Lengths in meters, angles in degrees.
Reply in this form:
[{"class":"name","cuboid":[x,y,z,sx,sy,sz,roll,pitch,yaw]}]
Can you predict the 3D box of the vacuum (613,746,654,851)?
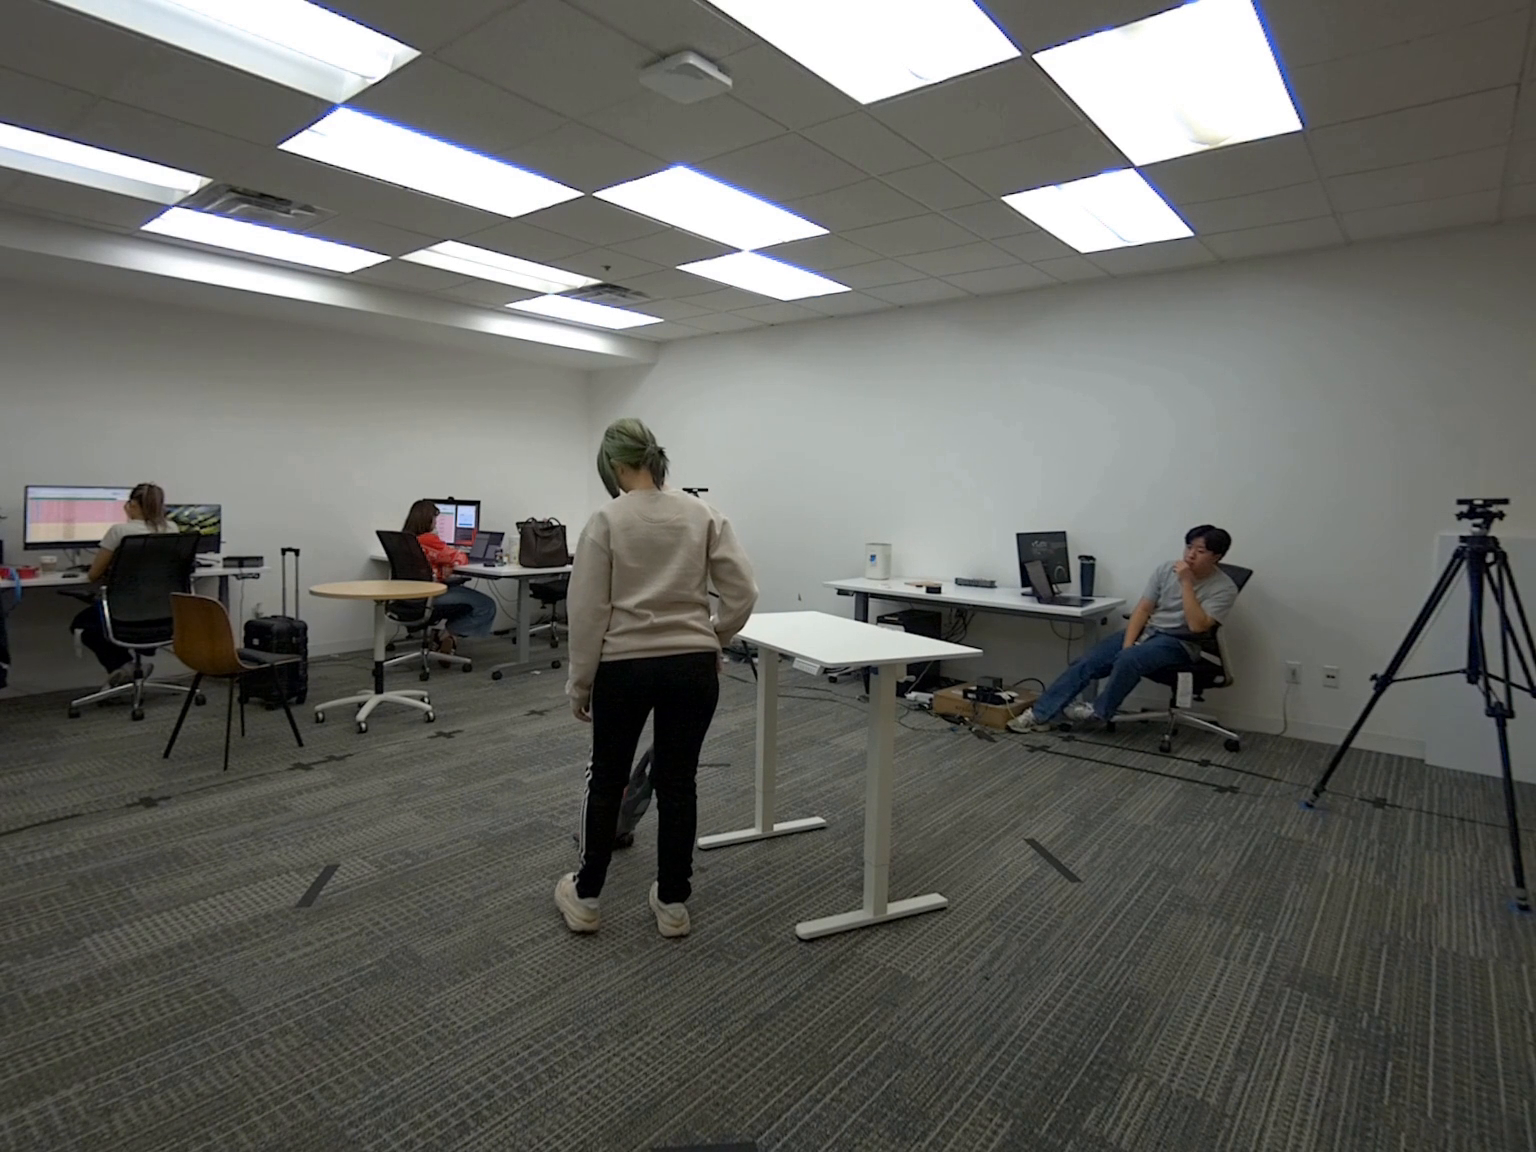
[{"class":"vacuum","cuboid":[-0.433,0.668,3.035,0.246,1.038,0.149,-7,50,-38]}]
